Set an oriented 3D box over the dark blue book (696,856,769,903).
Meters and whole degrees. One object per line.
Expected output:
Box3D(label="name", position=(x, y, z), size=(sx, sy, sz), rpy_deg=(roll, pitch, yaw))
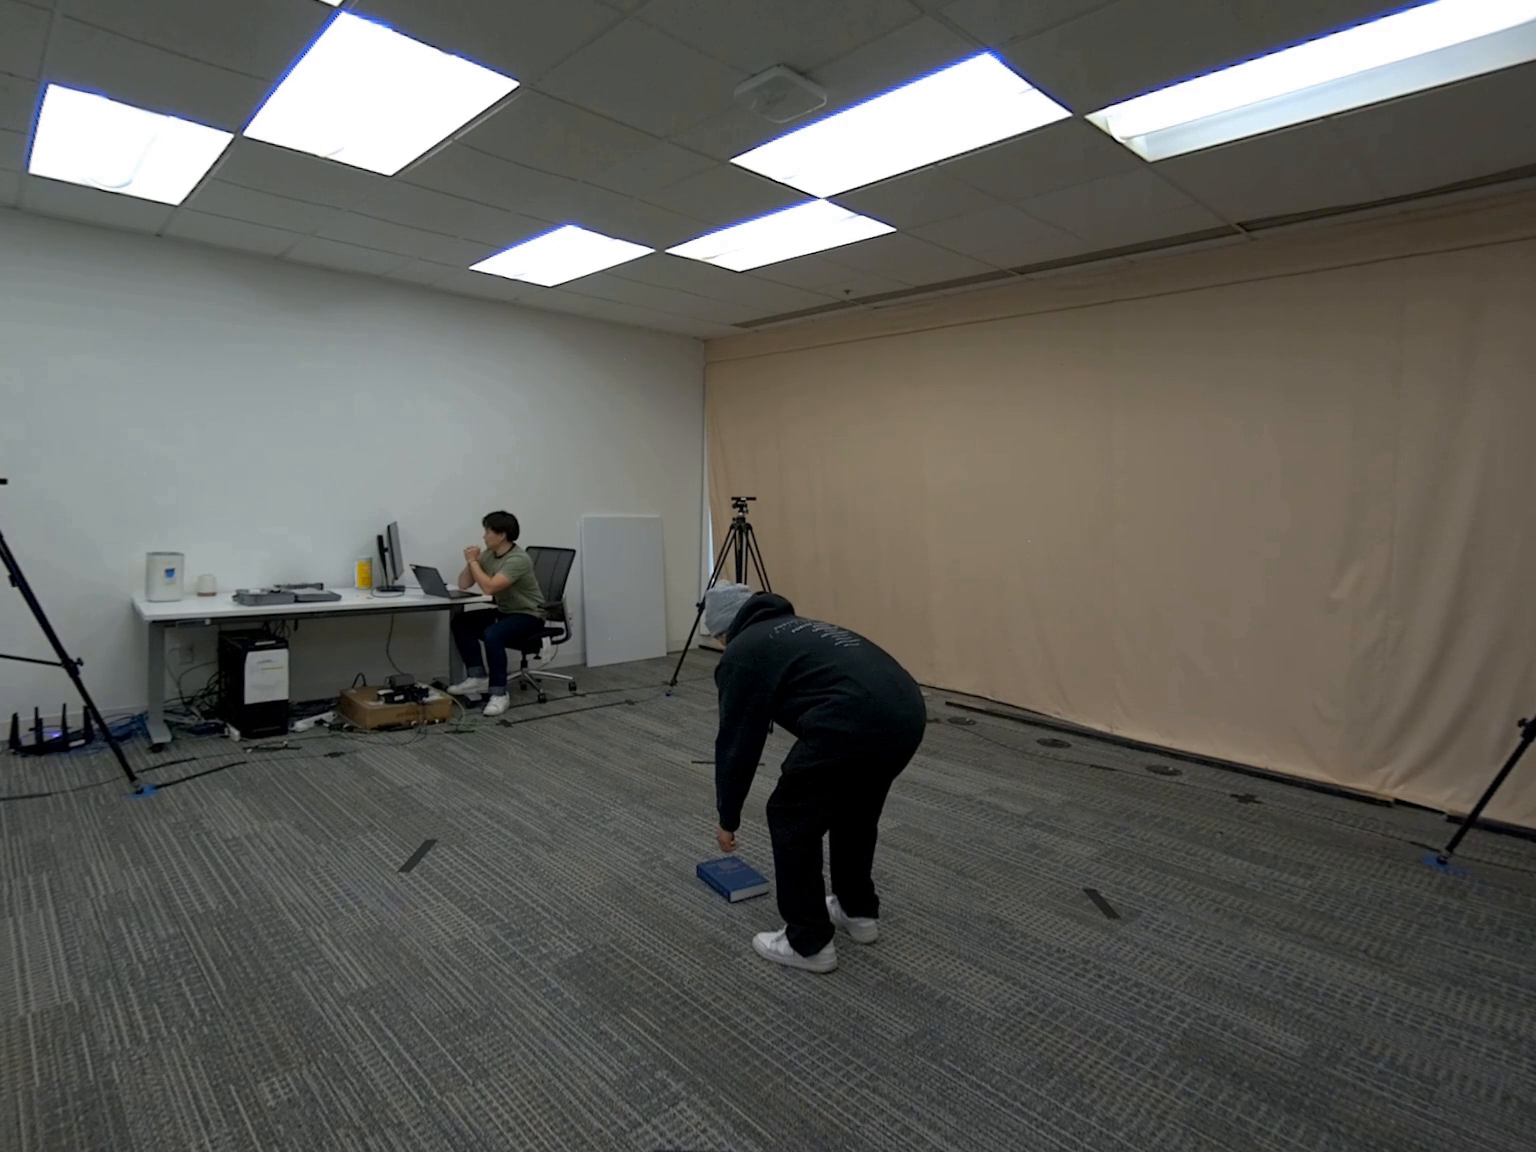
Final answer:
Box3D(label="dark blue book", position=(-0.135, 1.089, 3.034), size=(0.160, 0.045, 0.251), rpy_deg=(-2, 6, -32))
